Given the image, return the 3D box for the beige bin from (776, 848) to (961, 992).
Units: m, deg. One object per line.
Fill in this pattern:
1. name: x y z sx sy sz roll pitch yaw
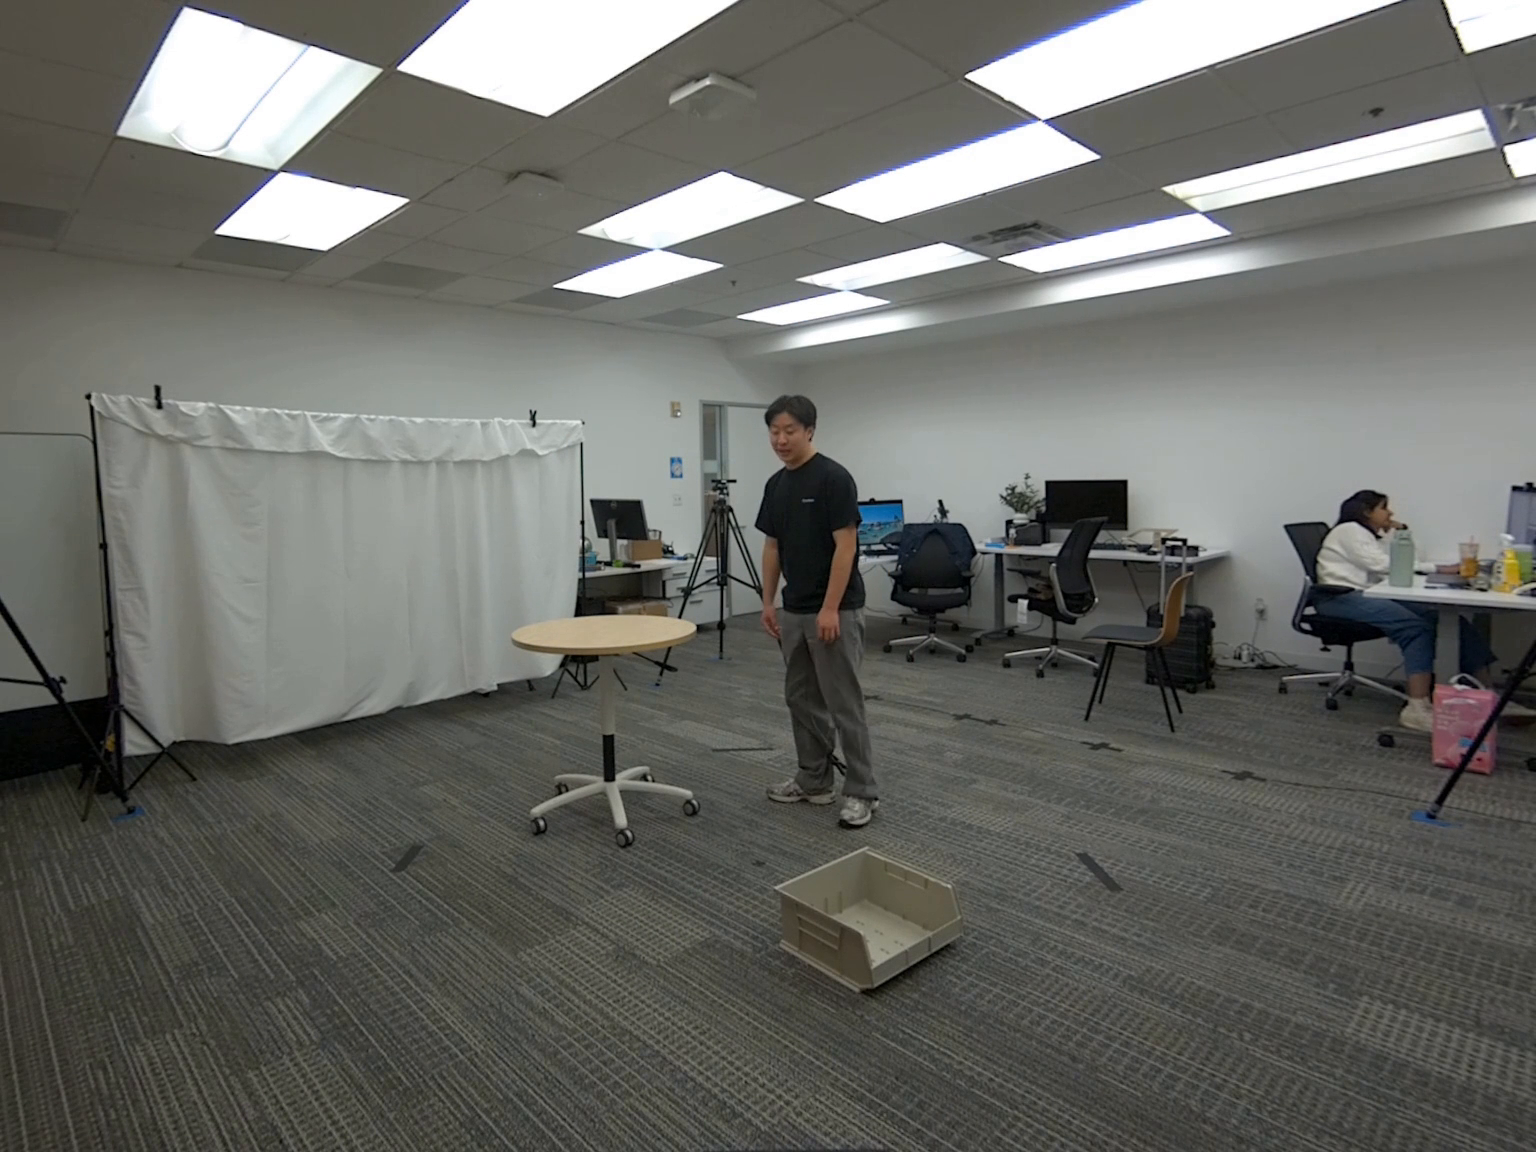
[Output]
1. beige bin: 0.304 1.015 2.548 0.411 0.188 0.388 -7 7 -41
